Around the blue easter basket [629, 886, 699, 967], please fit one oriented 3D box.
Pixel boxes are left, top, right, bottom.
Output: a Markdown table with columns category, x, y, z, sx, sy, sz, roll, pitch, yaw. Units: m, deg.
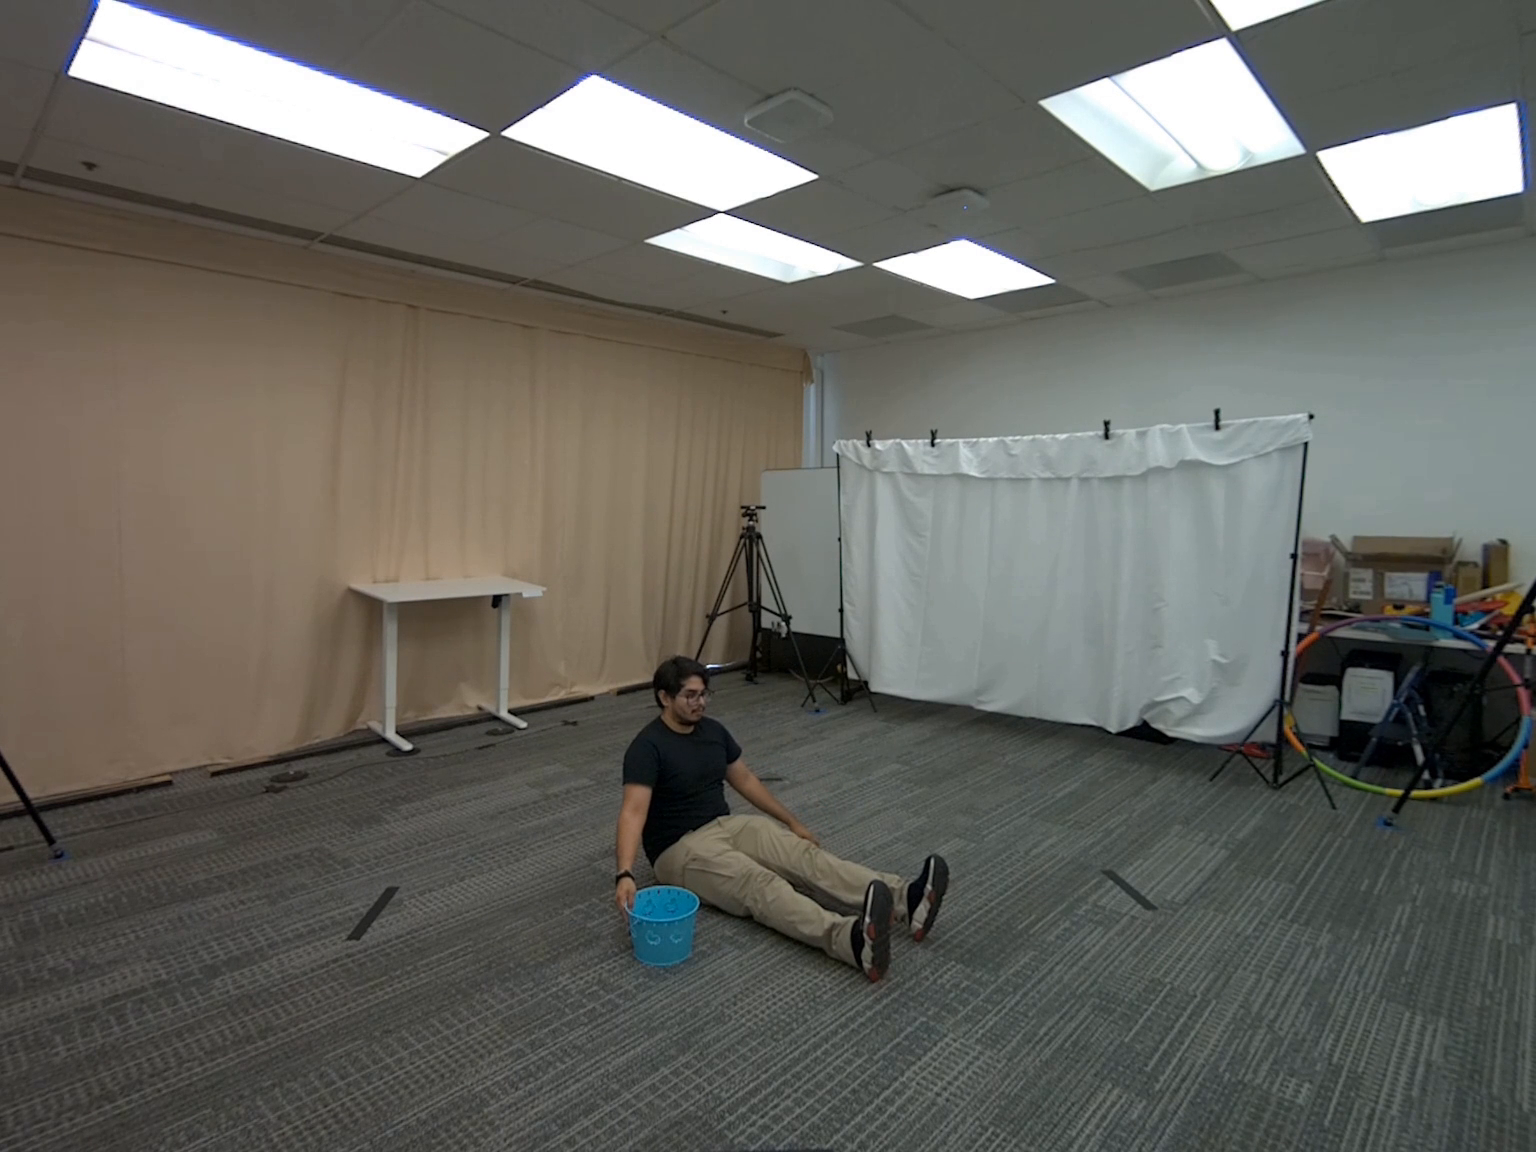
| category | x | y | z | sx | sy | sz | roll | pitch | yaw |
| --- | --- | --- | --- | --- | --- | --- | --- | --- | --- |
| blue easter basket | -0.330 | 1.092 | 2.644 | 0.243 | 0.155 | 0.244 | 0 | 4 | -2 |
